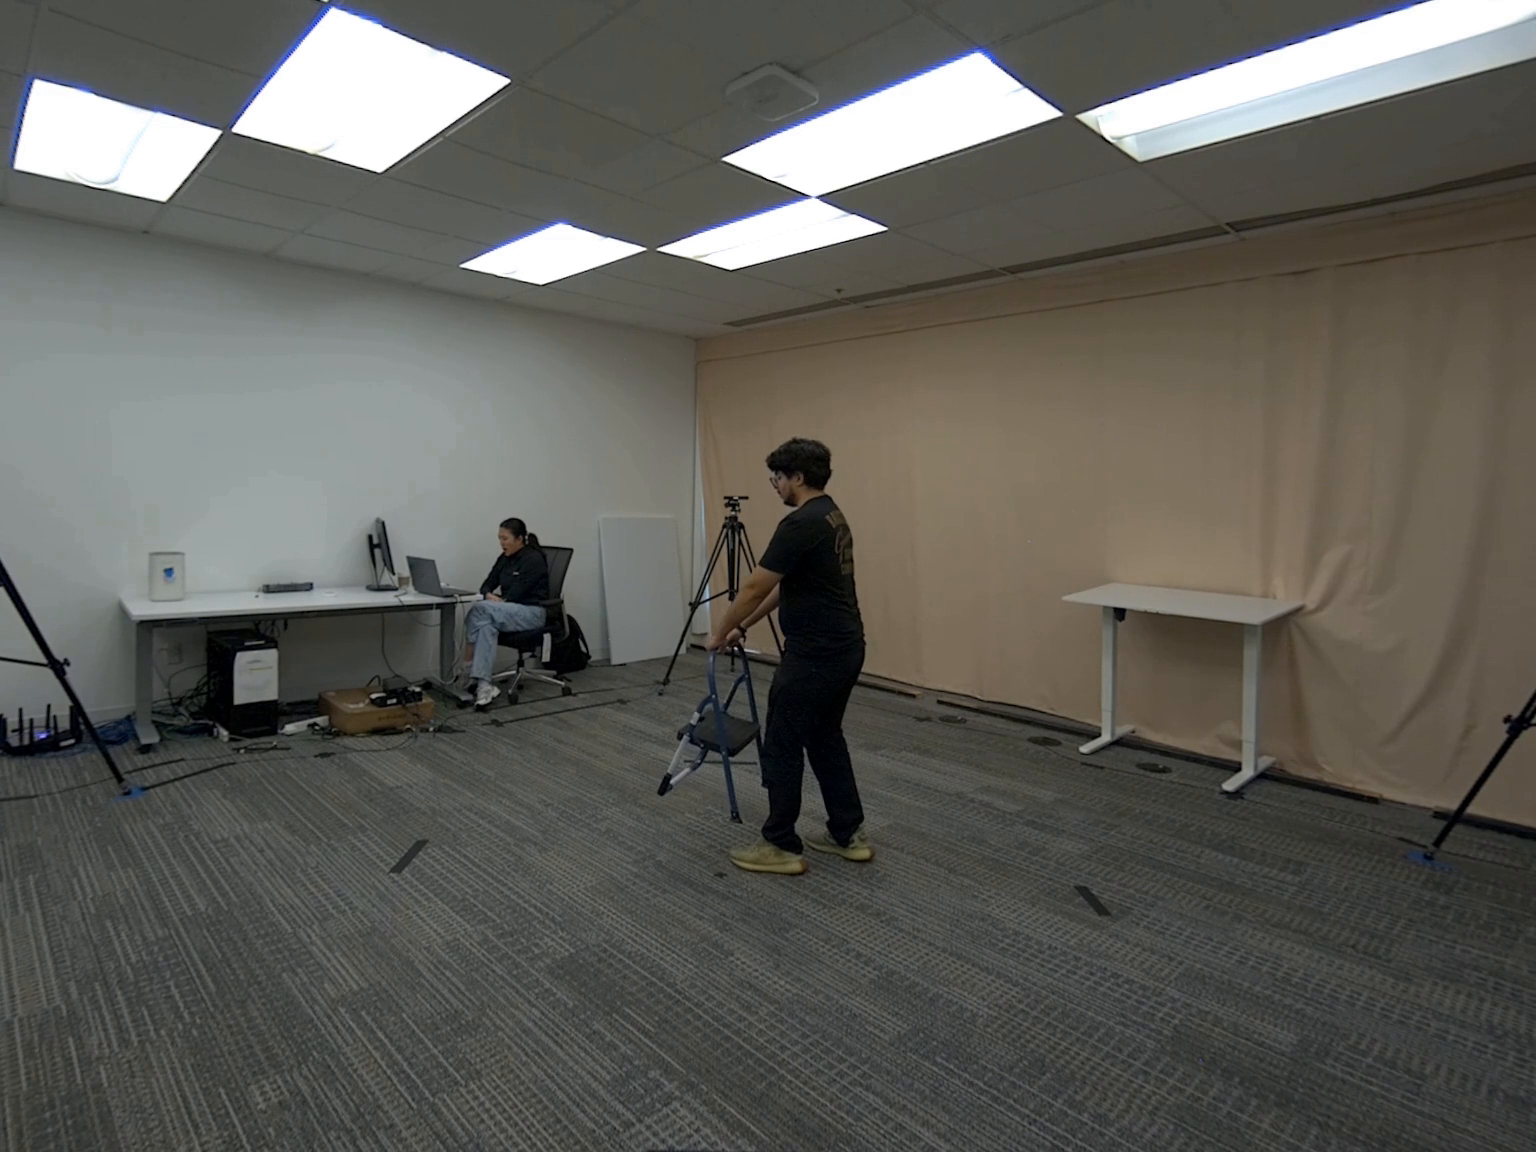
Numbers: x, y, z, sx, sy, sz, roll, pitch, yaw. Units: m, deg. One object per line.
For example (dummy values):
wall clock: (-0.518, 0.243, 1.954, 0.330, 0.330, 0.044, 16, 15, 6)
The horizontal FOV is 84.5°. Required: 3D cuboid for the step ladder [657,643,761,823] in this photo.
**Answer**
step ladder: (-0.157, 0.568, 3.341, 0.355, 0.603, 0.425, 14, 8, 17)
